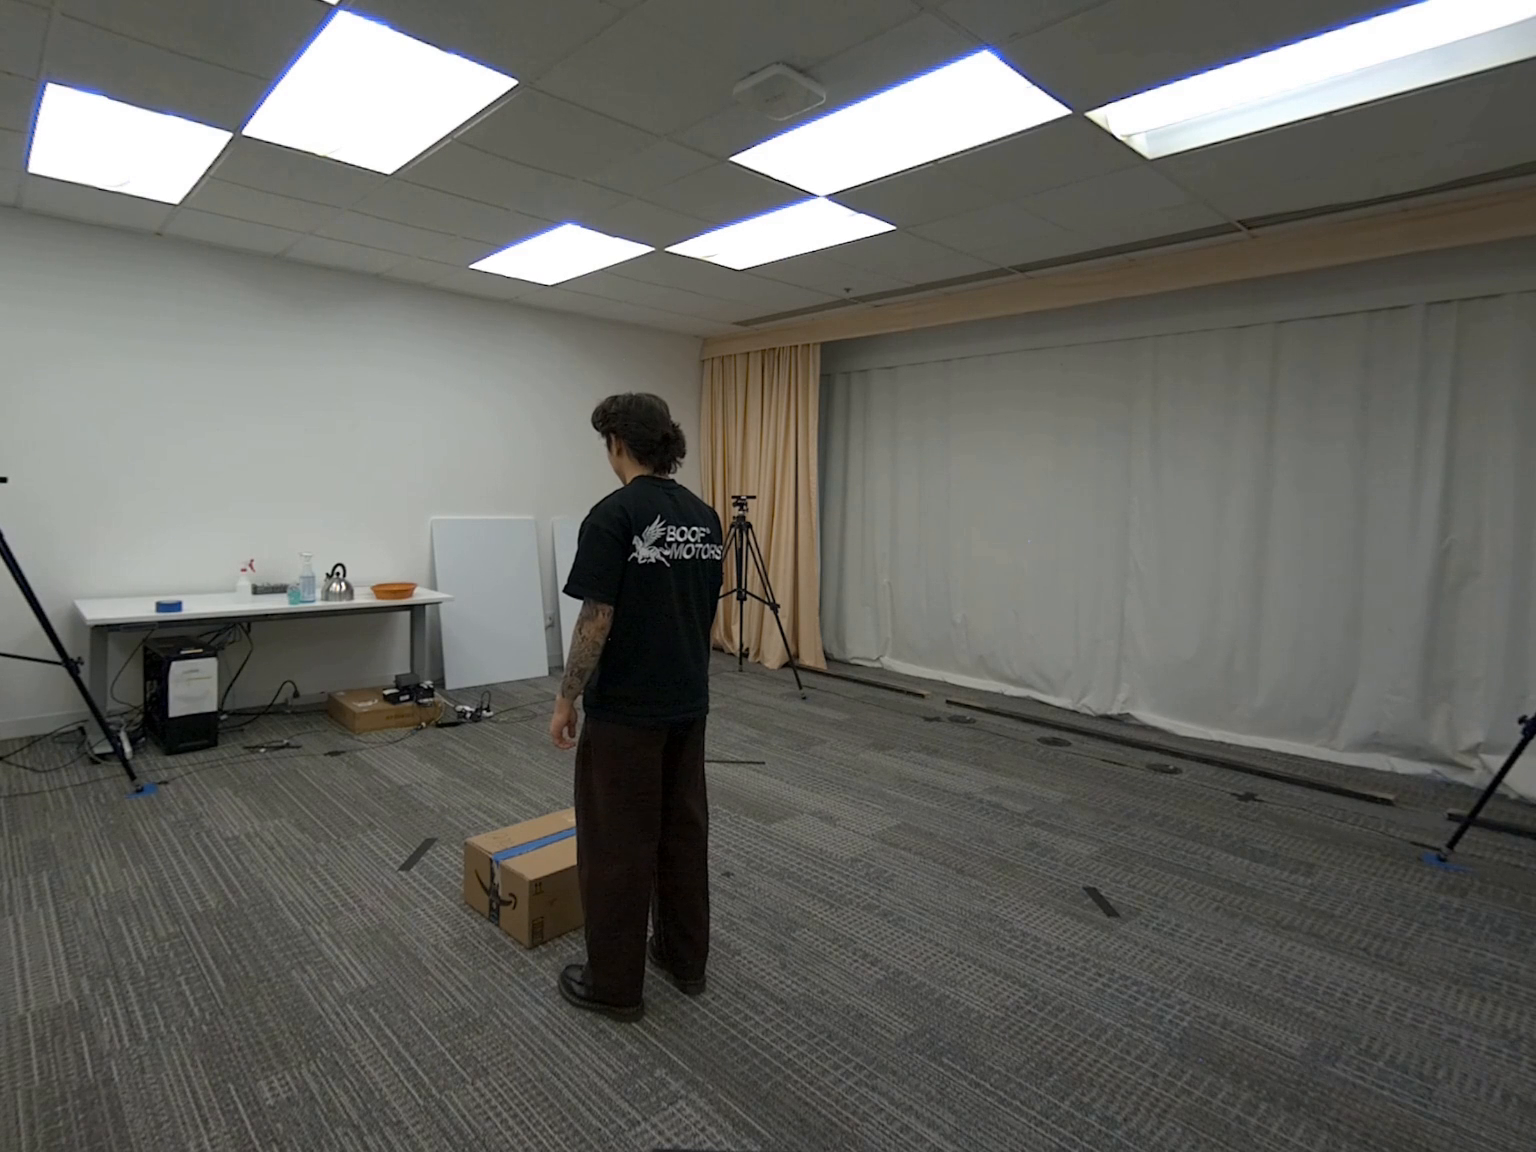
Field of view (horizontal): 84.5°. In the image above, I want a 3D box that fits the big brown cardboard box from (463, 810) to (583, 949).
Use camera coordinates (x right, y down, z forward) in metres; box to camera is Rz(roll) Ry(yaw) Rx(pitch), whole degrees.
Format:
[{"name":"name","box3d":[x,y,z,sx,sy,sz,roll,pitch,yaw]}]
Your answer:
[{"name":"big brown cardboard box","box3d":[-0.688,0.996,2.901,0.428,0.232,0.576,6,8,43]}]
